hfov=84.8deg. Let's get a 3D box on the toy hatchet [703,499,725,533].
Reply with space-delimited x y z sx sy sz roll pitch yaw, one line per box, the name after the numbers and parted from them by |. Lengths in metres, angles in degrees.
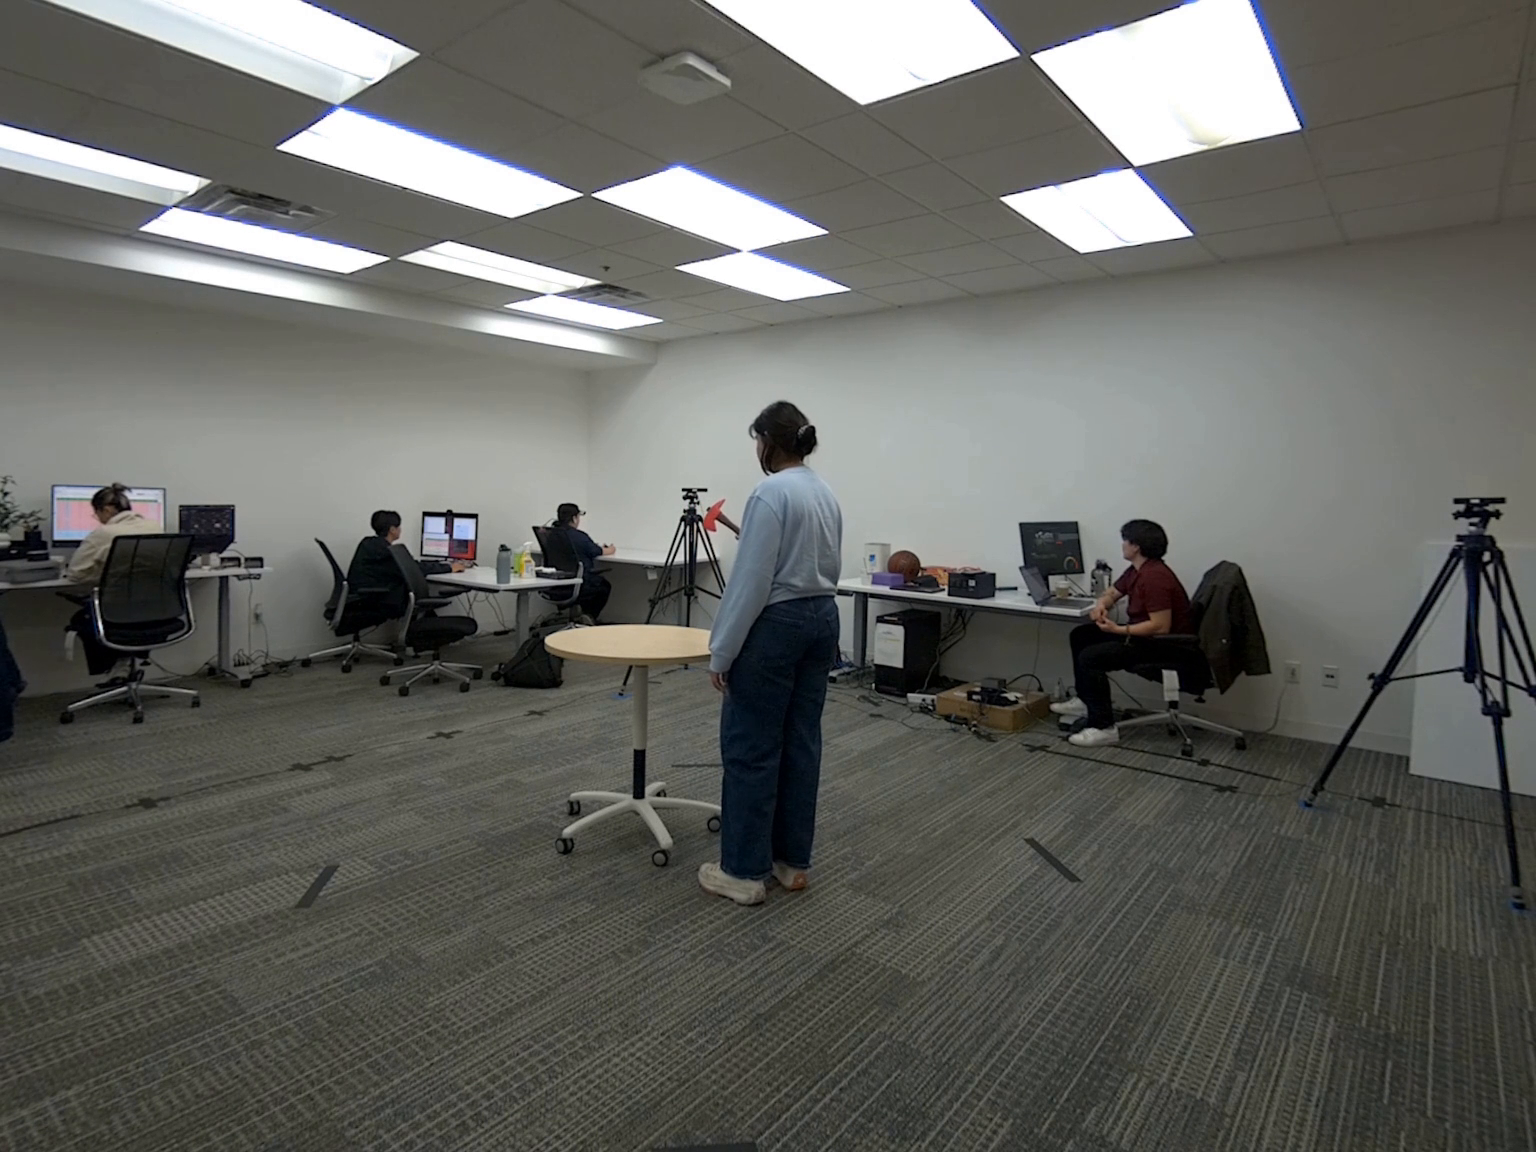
-0.158 -0.163 3.239 0.131 0.274 0.029 -37 -11 3 | toy hatchet
